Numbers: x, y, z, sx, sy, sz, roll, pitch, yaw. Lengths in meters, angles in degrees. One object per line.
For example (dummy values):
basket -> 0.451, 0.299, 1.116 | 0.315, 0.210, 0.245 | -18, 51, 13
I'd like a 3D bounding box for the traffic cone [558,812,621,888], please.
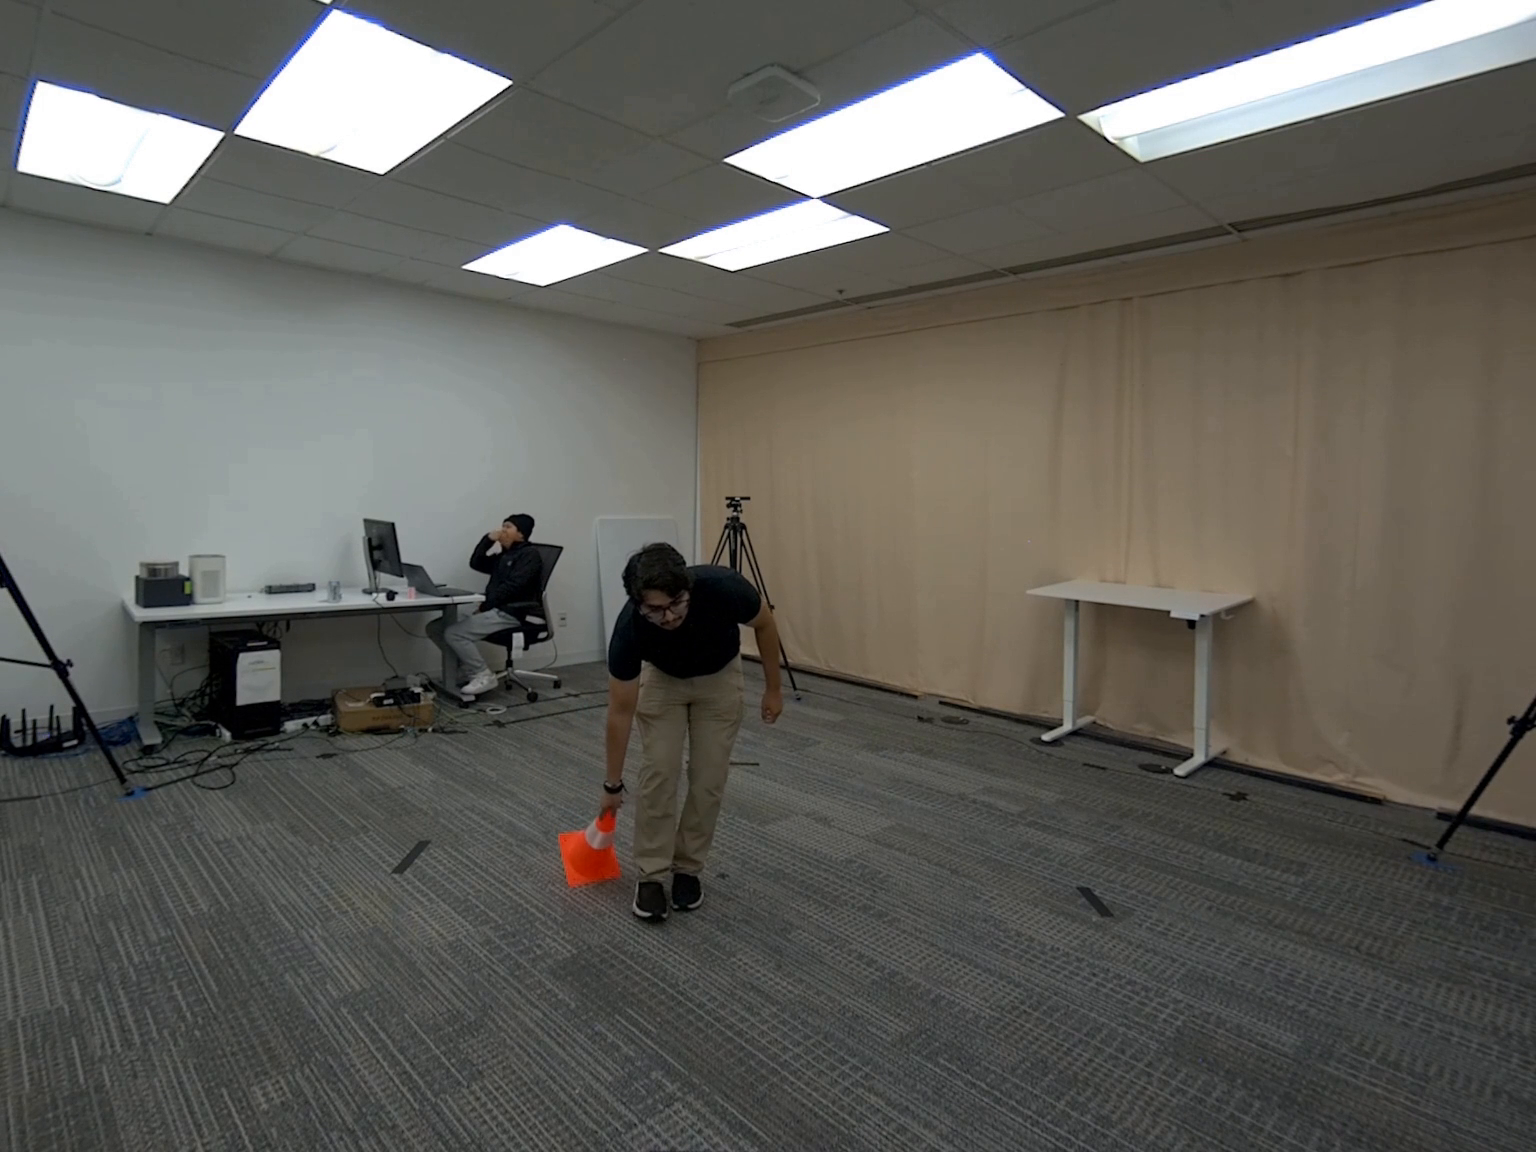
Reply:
traffic cone -> -0.592, 0.908, 2.972 | 0.199, 0.380, 0.211 | -1, 47, -31
